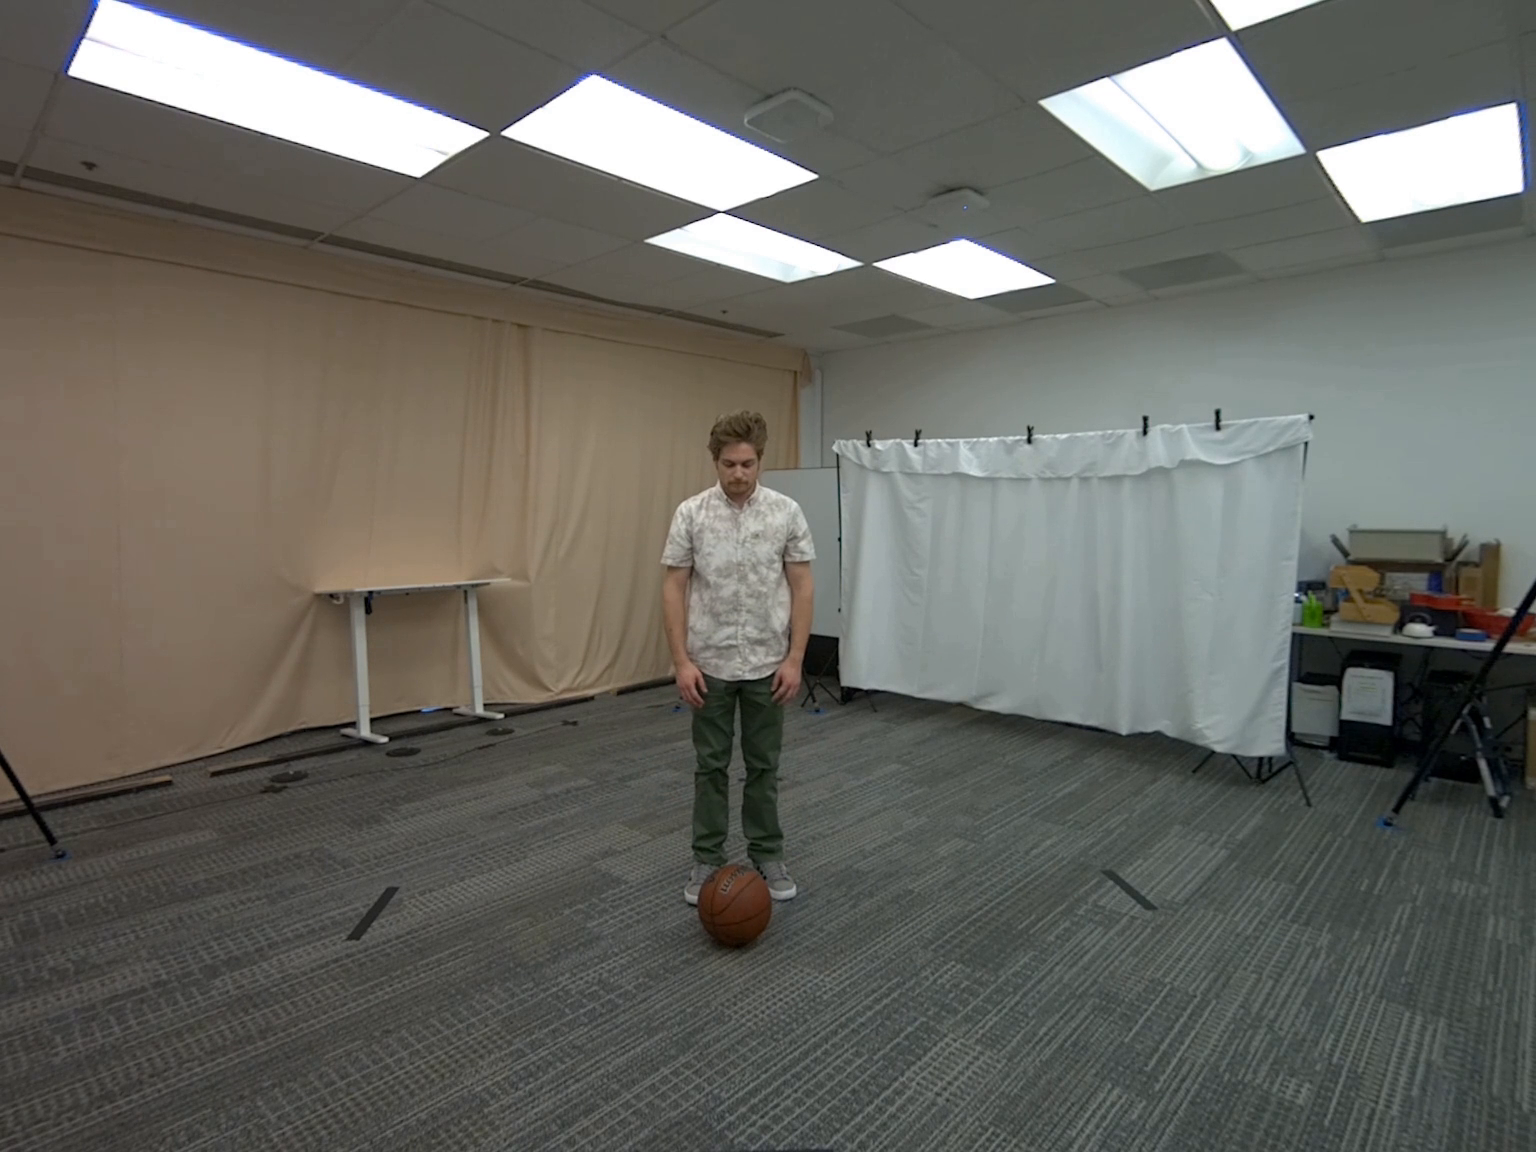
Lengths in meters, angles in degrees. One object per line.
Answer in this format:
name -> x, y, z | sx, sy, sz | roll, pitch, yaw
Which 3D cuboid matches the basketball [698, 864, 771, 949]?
basketball -> -0.108, 1.044, 2.694 | 0.236, 0.235, 0.237 | 0, 4, -2
